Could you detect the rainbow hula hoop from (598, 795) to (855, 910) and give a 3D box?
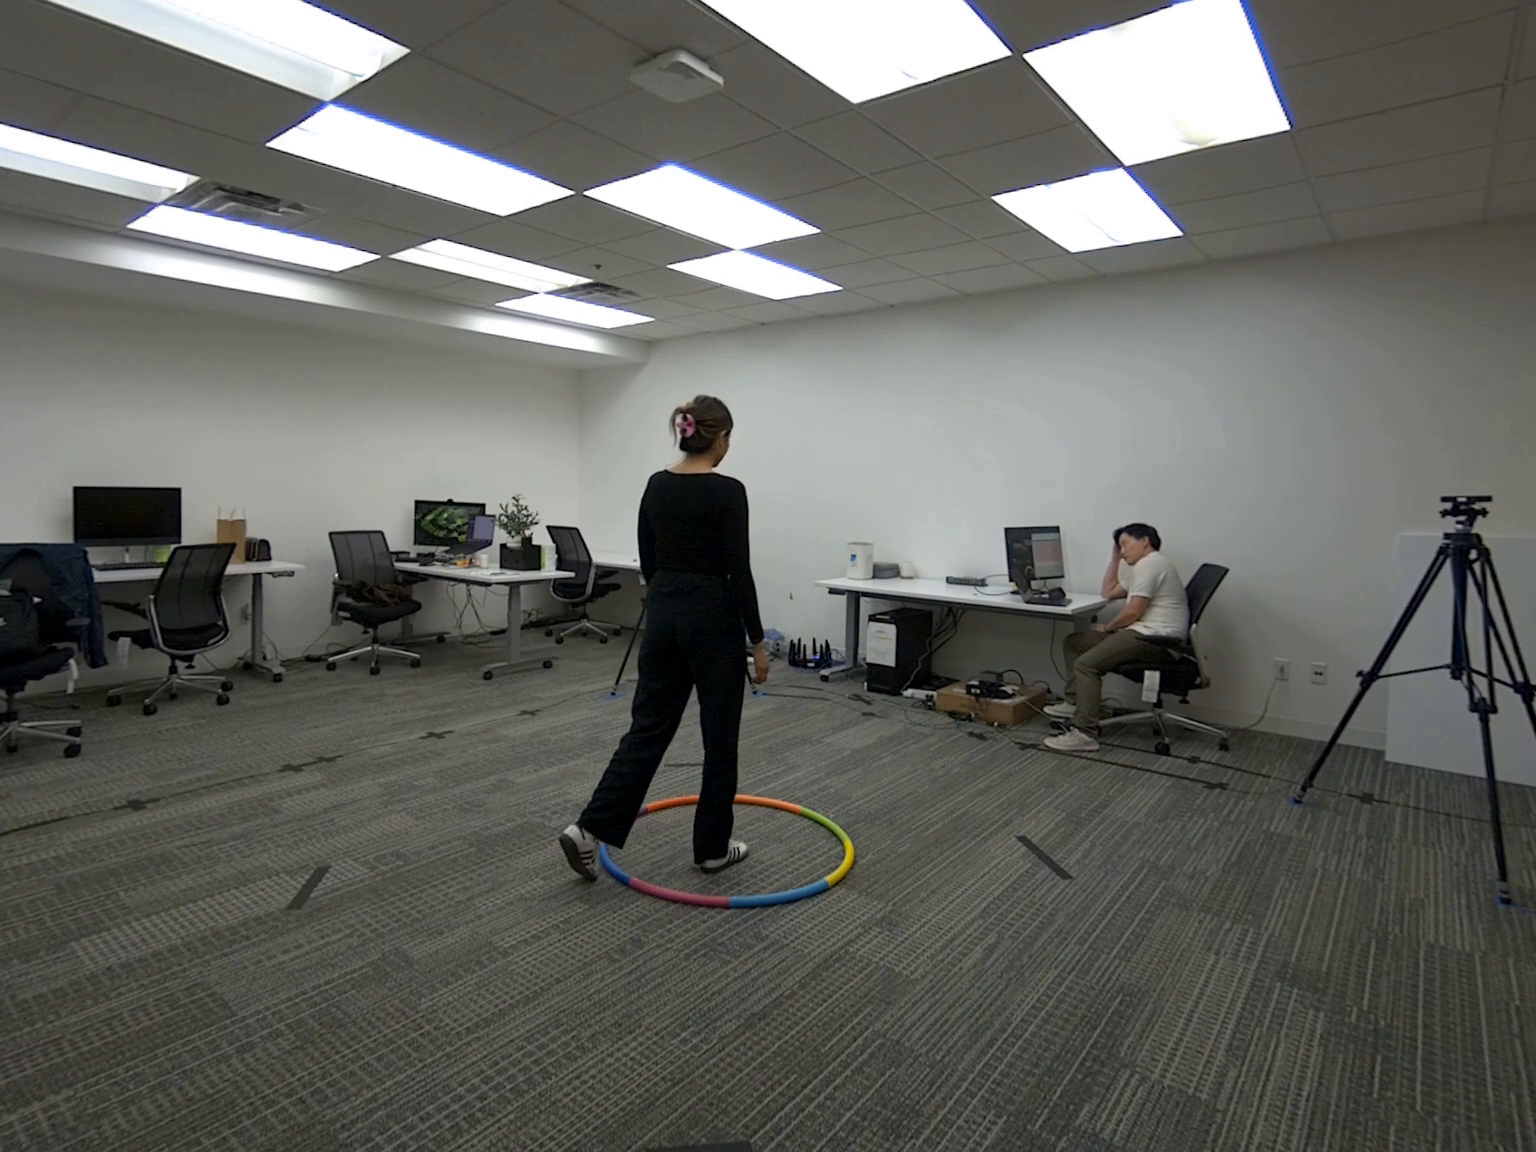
[{"bbox_3d":[-0.171,1.021,3.295,0.978,0.035,0.984,1,6,-2],"label":"rainbow hula hoop"}]
